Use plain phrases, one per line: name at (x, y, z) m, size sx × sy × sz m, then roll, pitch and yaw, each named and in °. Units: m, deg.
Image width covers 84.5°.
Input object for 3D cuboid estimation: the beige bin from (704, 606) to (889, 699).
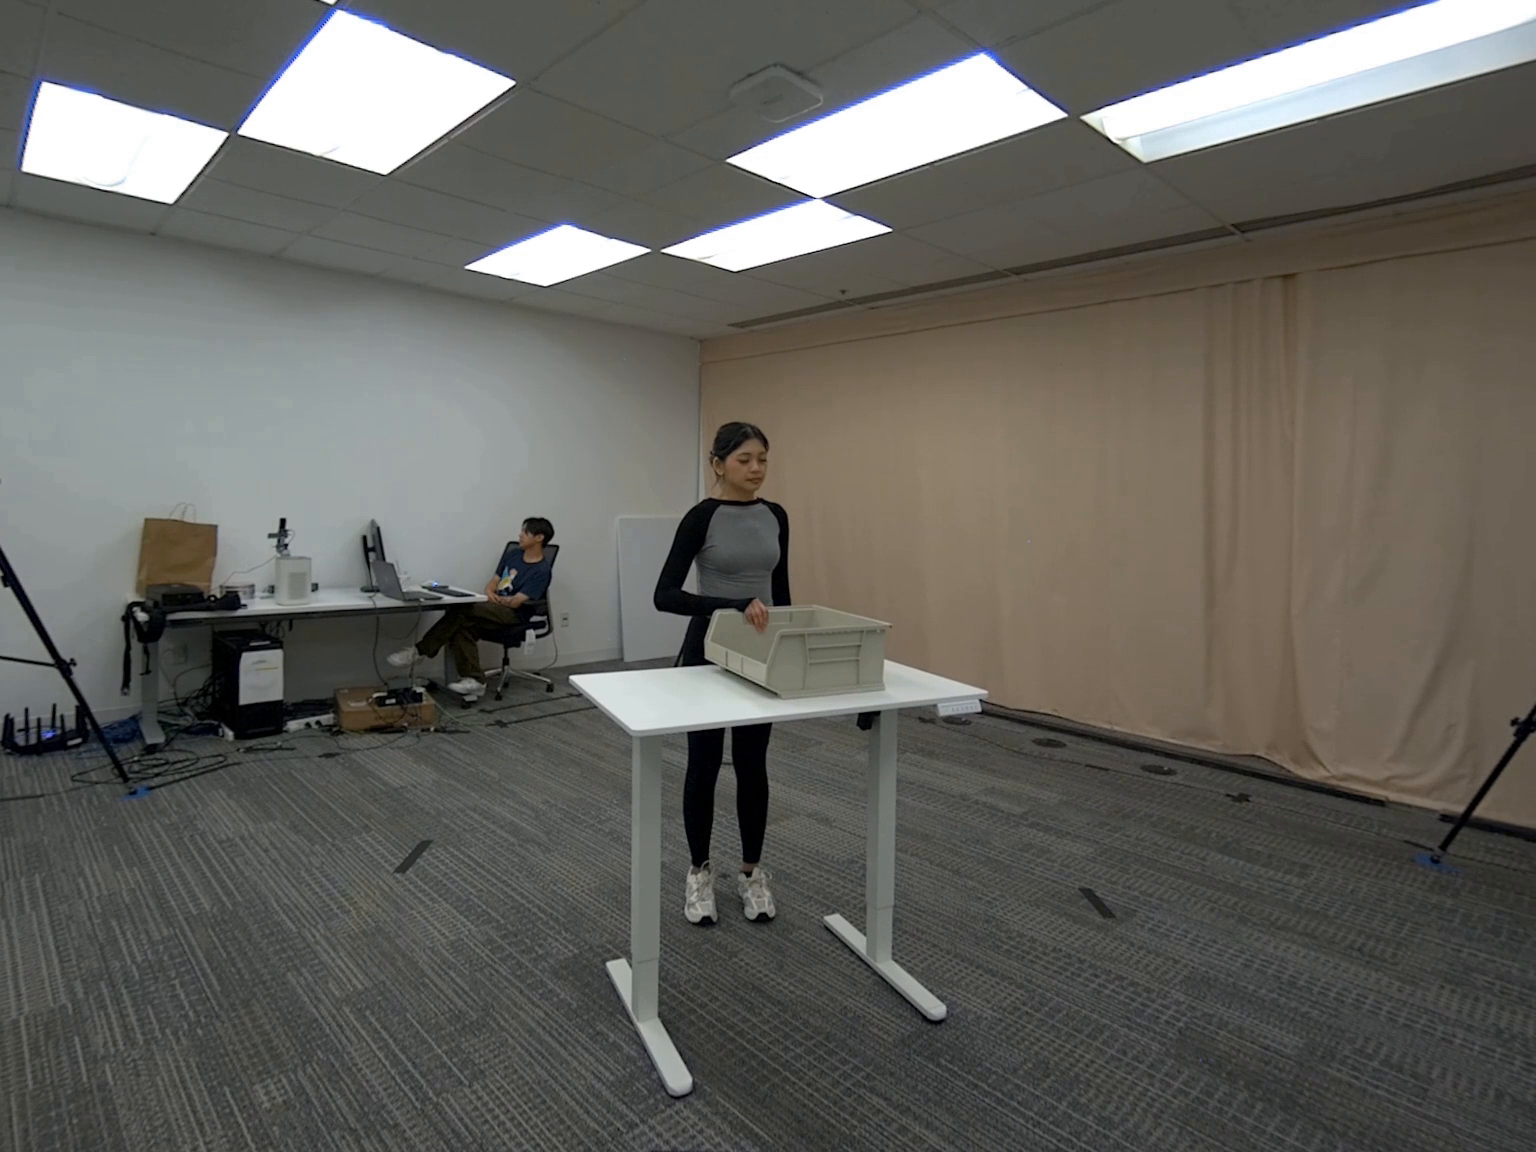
beige bin at (0.064, 0.209, 2.385) m, size 0.370 × 0.188 × 0.431 m, roll 0°, pitch 4°, yaw -25°
